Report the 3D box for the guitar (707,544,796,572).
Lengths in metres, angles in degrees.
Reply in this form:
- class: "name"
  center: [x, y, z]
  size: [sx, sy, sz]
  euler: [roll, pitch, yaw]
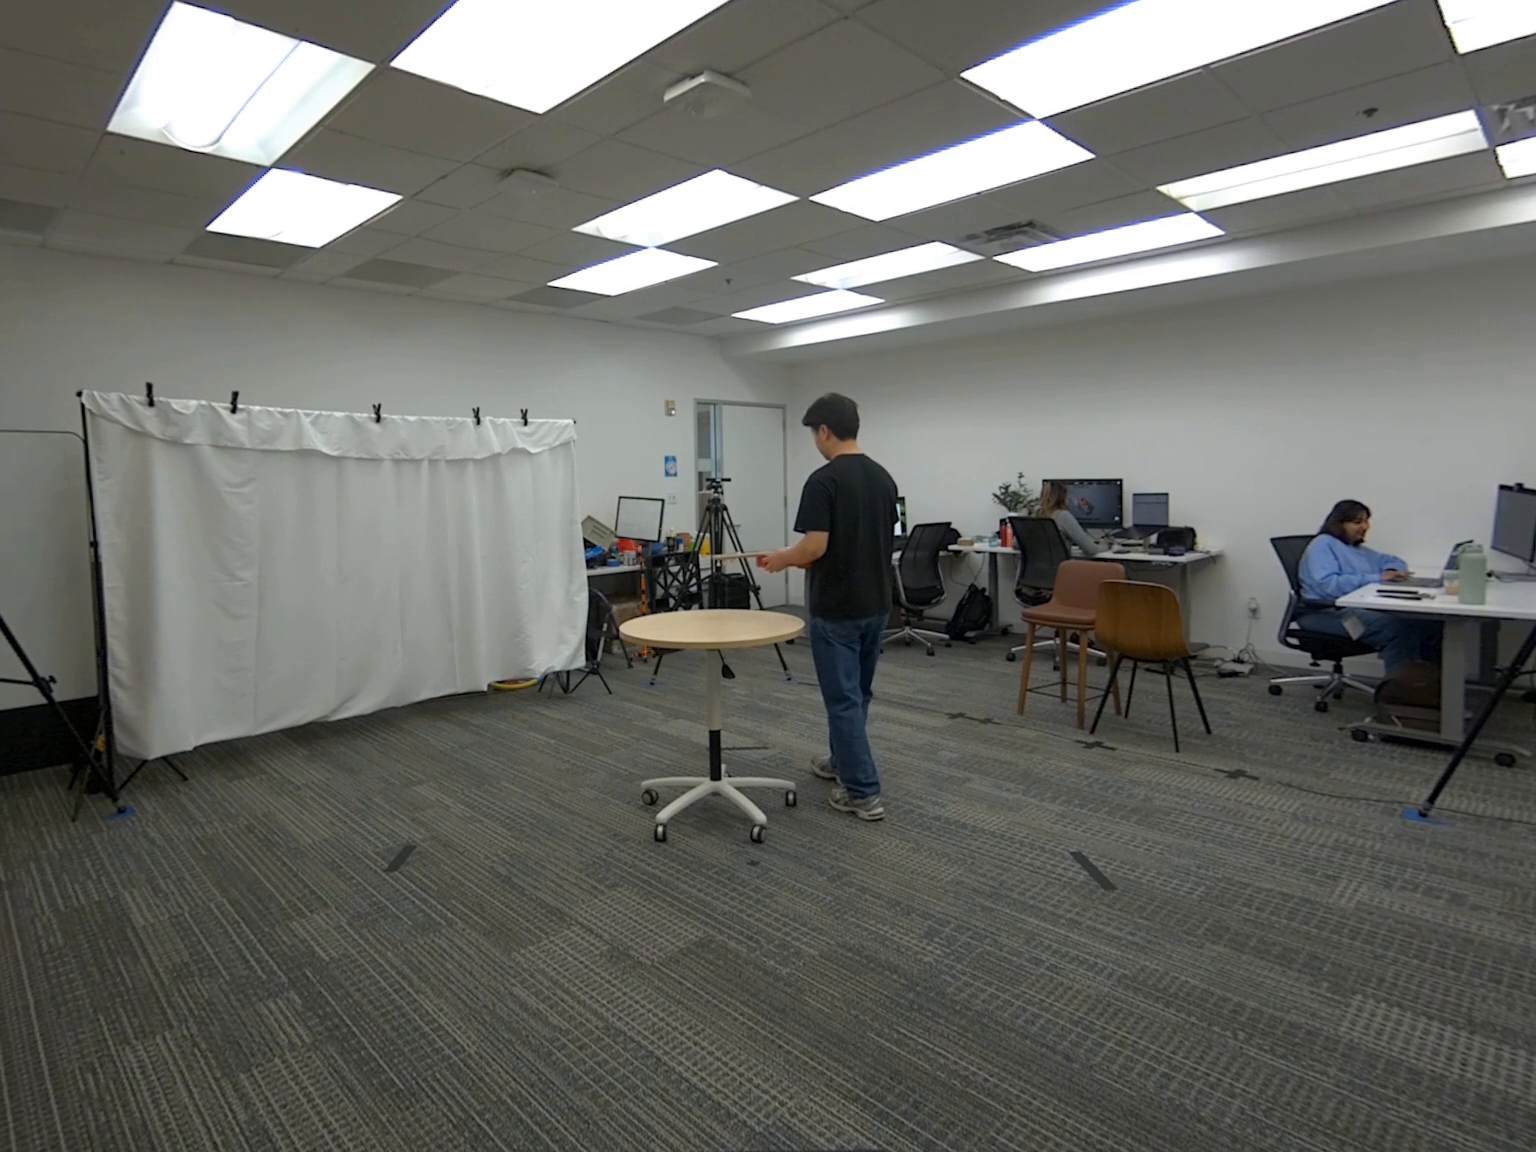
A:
- class: "guitar"
  center: [-0.010, -0.089, 3.863]
  size: [0.492, 0.070, 0.197]
  euler: [-4, 10, -12]
